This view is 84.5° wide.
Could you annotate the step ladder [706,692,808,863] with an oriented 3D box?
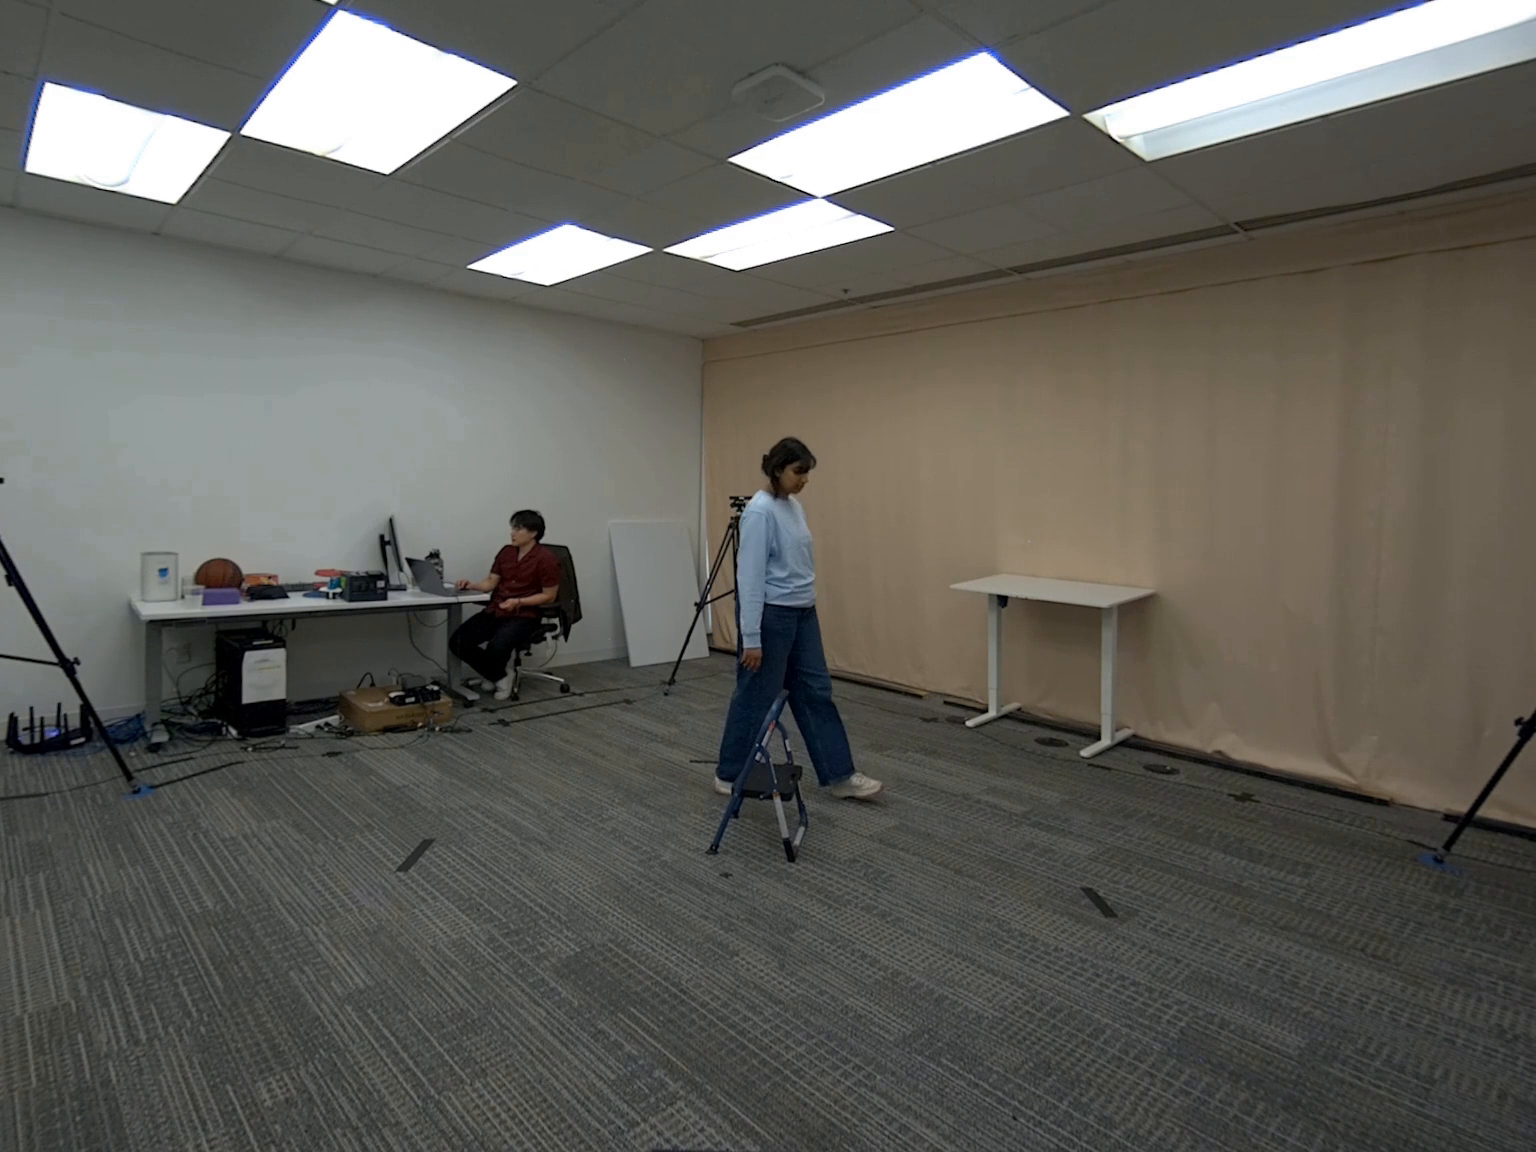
[{"bbox_3d":[-0.031,0.774,3.439,0.352,0.604,0.428,2,4,11],"label":"step ladder"}]
